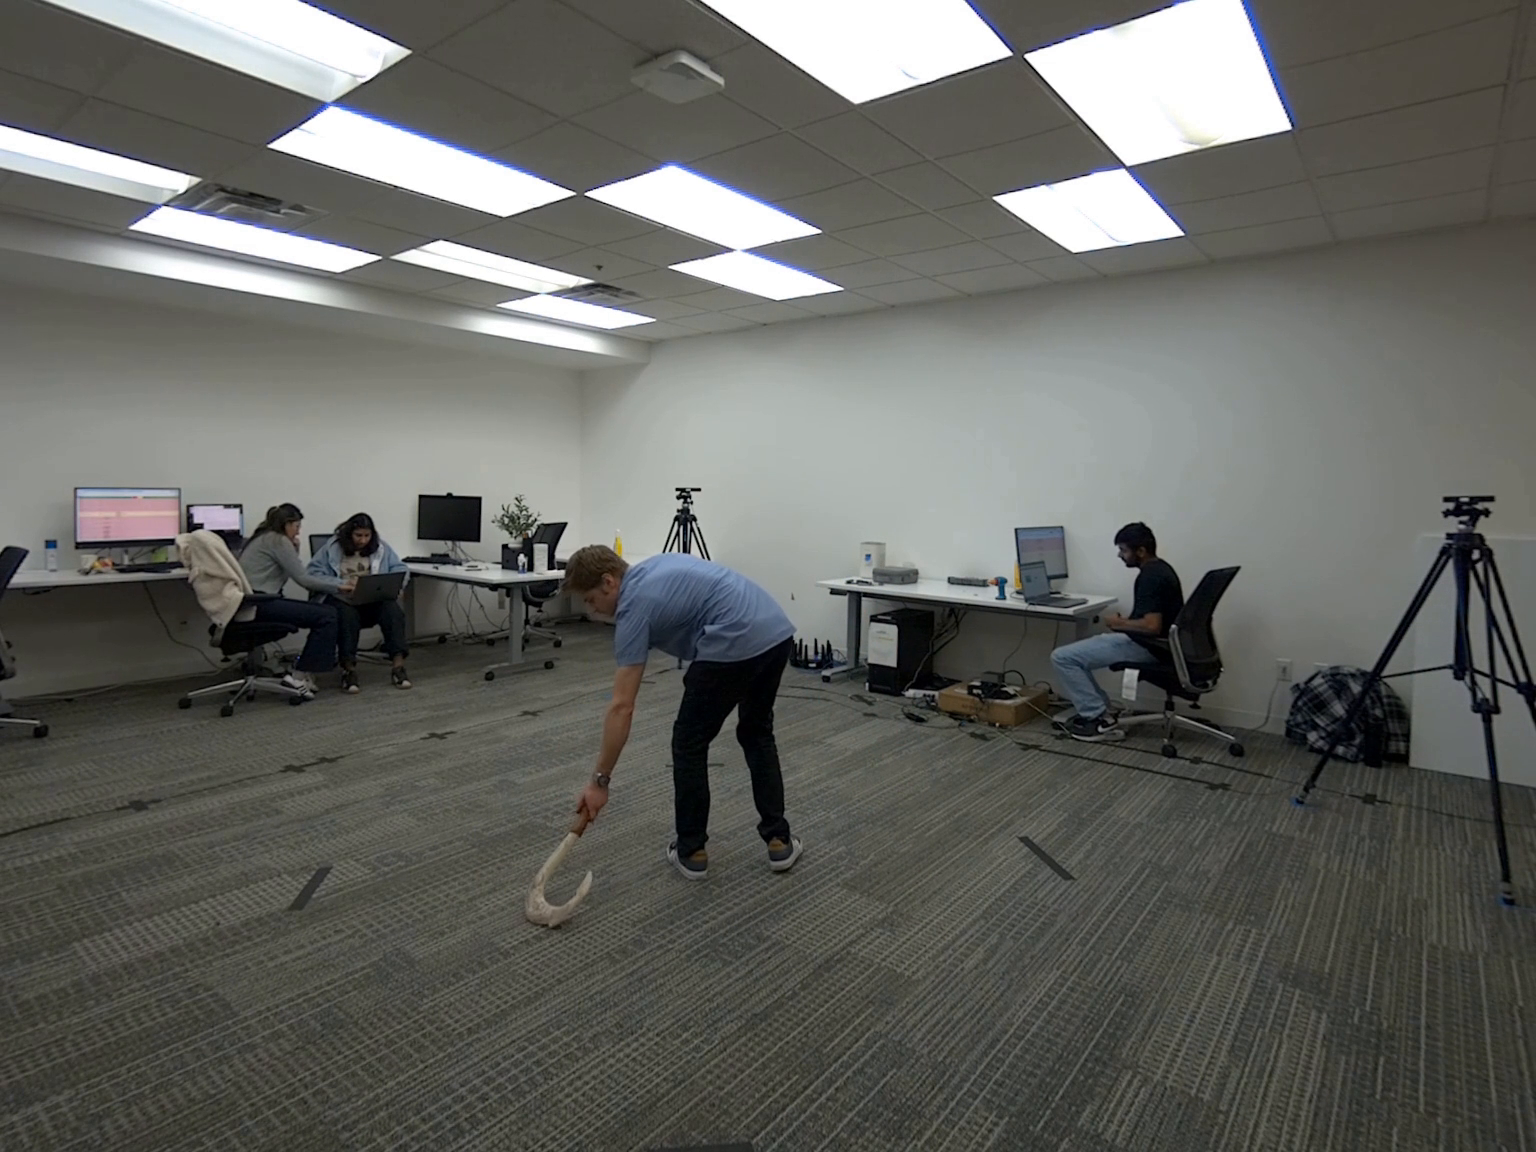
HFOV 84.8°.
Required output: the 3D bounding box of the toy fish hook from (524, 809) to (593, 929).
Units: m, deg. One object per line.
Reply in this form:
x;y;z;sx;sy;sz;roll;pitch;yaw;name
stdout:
-0.649;0.922;2.853;0.230;0.046;0.512;1;46;26;toy fish hook
